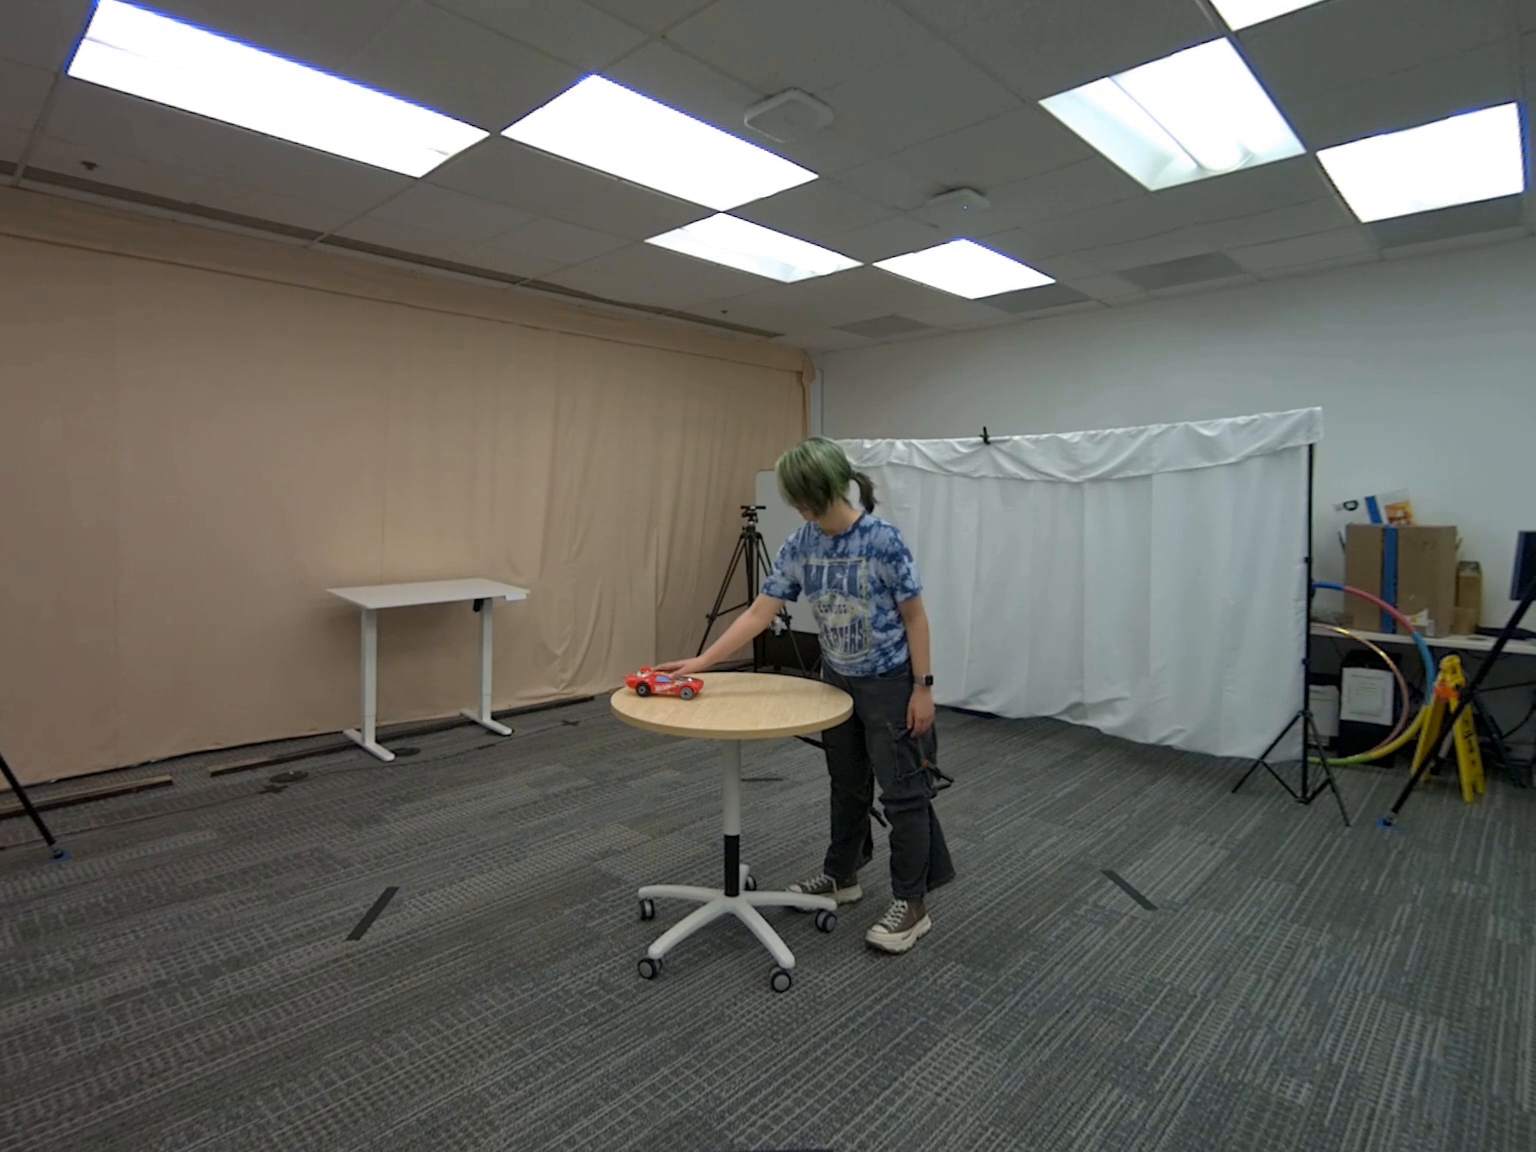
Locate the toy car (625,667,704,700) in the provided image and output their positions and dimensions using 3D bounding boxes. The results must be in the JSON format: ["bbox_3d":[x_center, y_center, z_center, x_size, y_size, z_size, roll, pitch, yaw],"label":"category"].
[{"bbox_3d":[-0.333,0.353,2.715,0.258,0.083,0.129,13,6,11],"label":"toy car"}]
